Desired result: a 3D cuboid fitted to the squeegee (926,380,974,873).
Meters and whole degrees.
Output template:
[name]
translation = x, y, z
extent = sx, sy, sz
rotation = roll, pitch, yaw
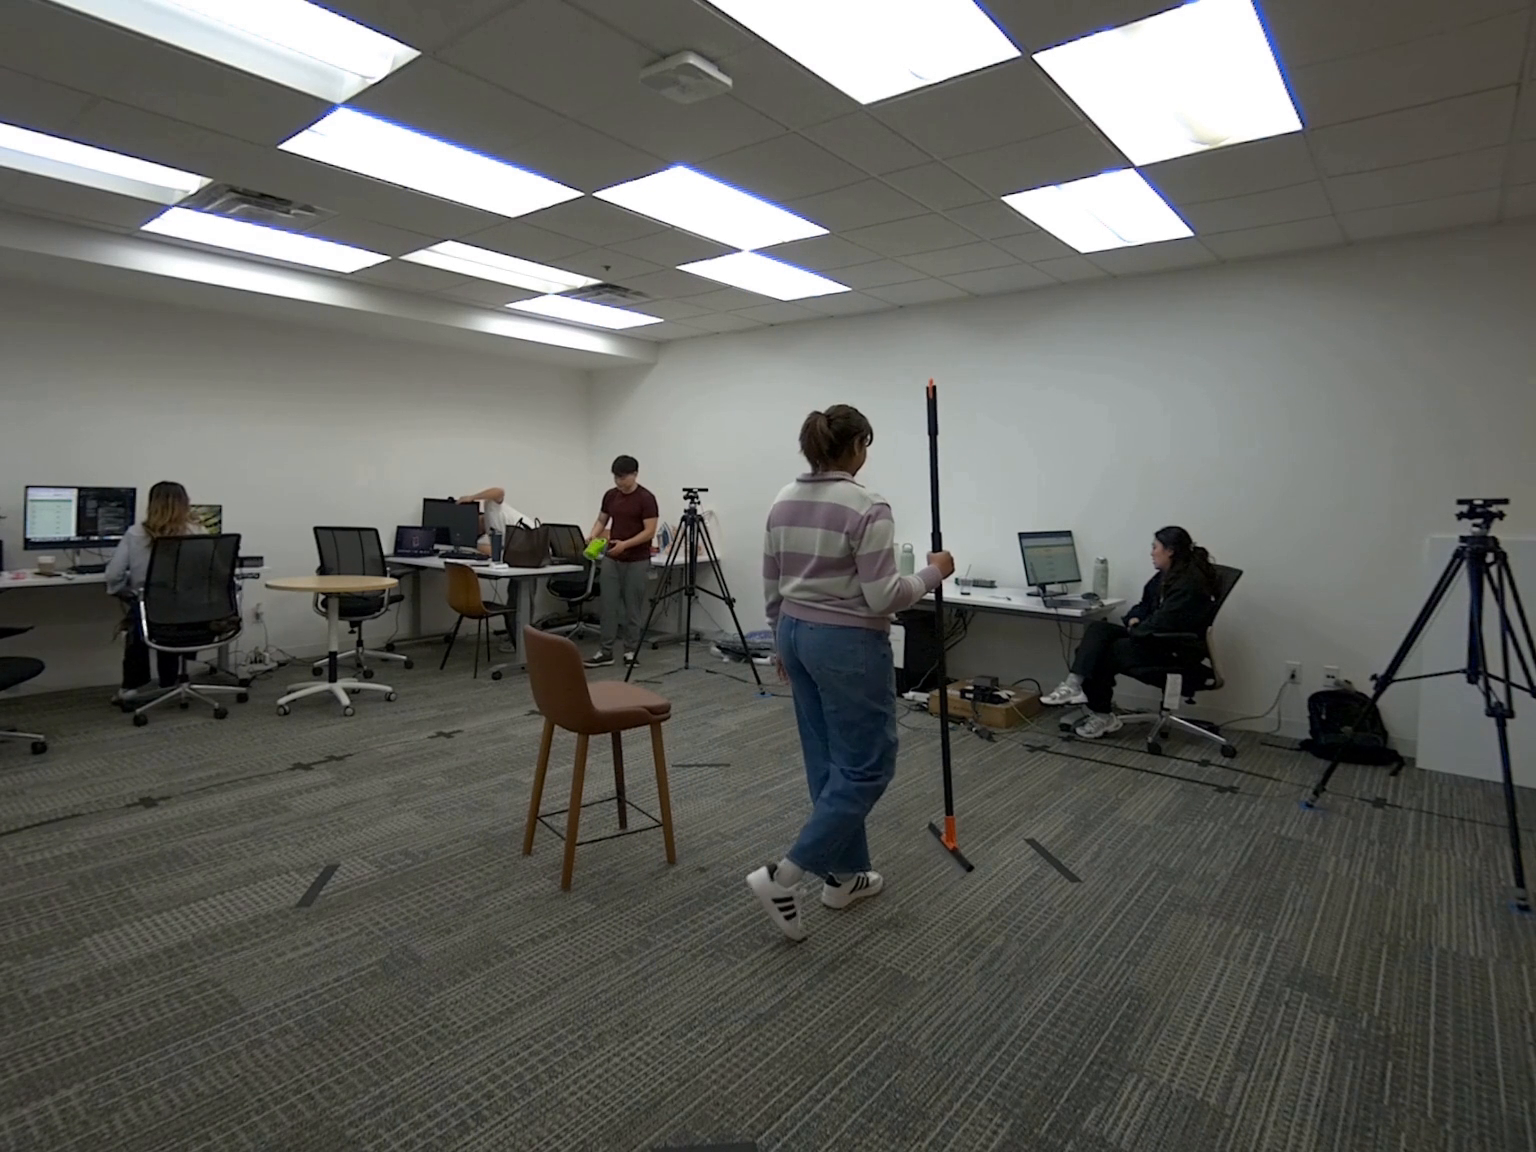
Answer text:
[squeegee]
translation = 0.557, 0.138, 2.749
extent = 0.053, 1.540, 0.435
rotation = -2, -1, 1
